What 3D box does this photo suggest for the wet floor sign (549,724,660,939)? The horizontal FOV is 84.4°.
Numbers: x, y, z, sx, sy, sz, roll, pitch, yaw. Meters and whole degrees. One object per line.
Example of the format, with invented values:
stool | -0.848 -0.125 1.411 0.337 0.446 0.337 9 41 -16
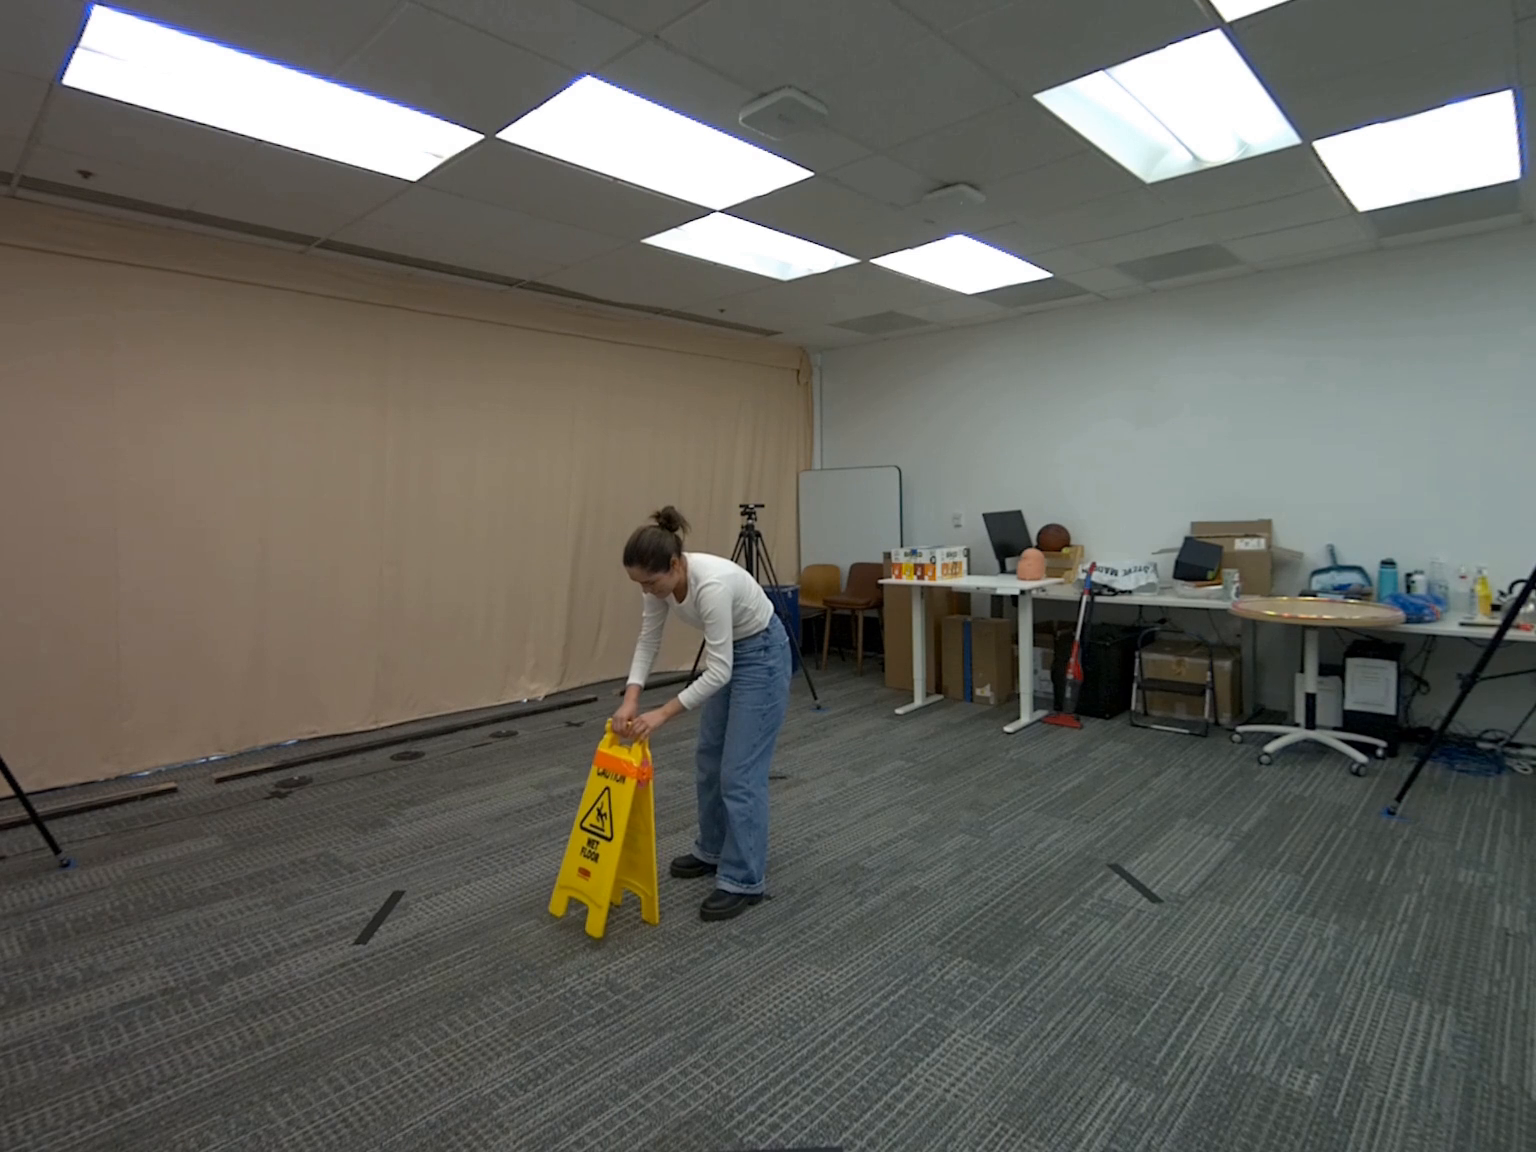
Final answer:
wet floor sign | -0.504 0.822 2.843 0.291 0.647 0.279 2 -6 44
